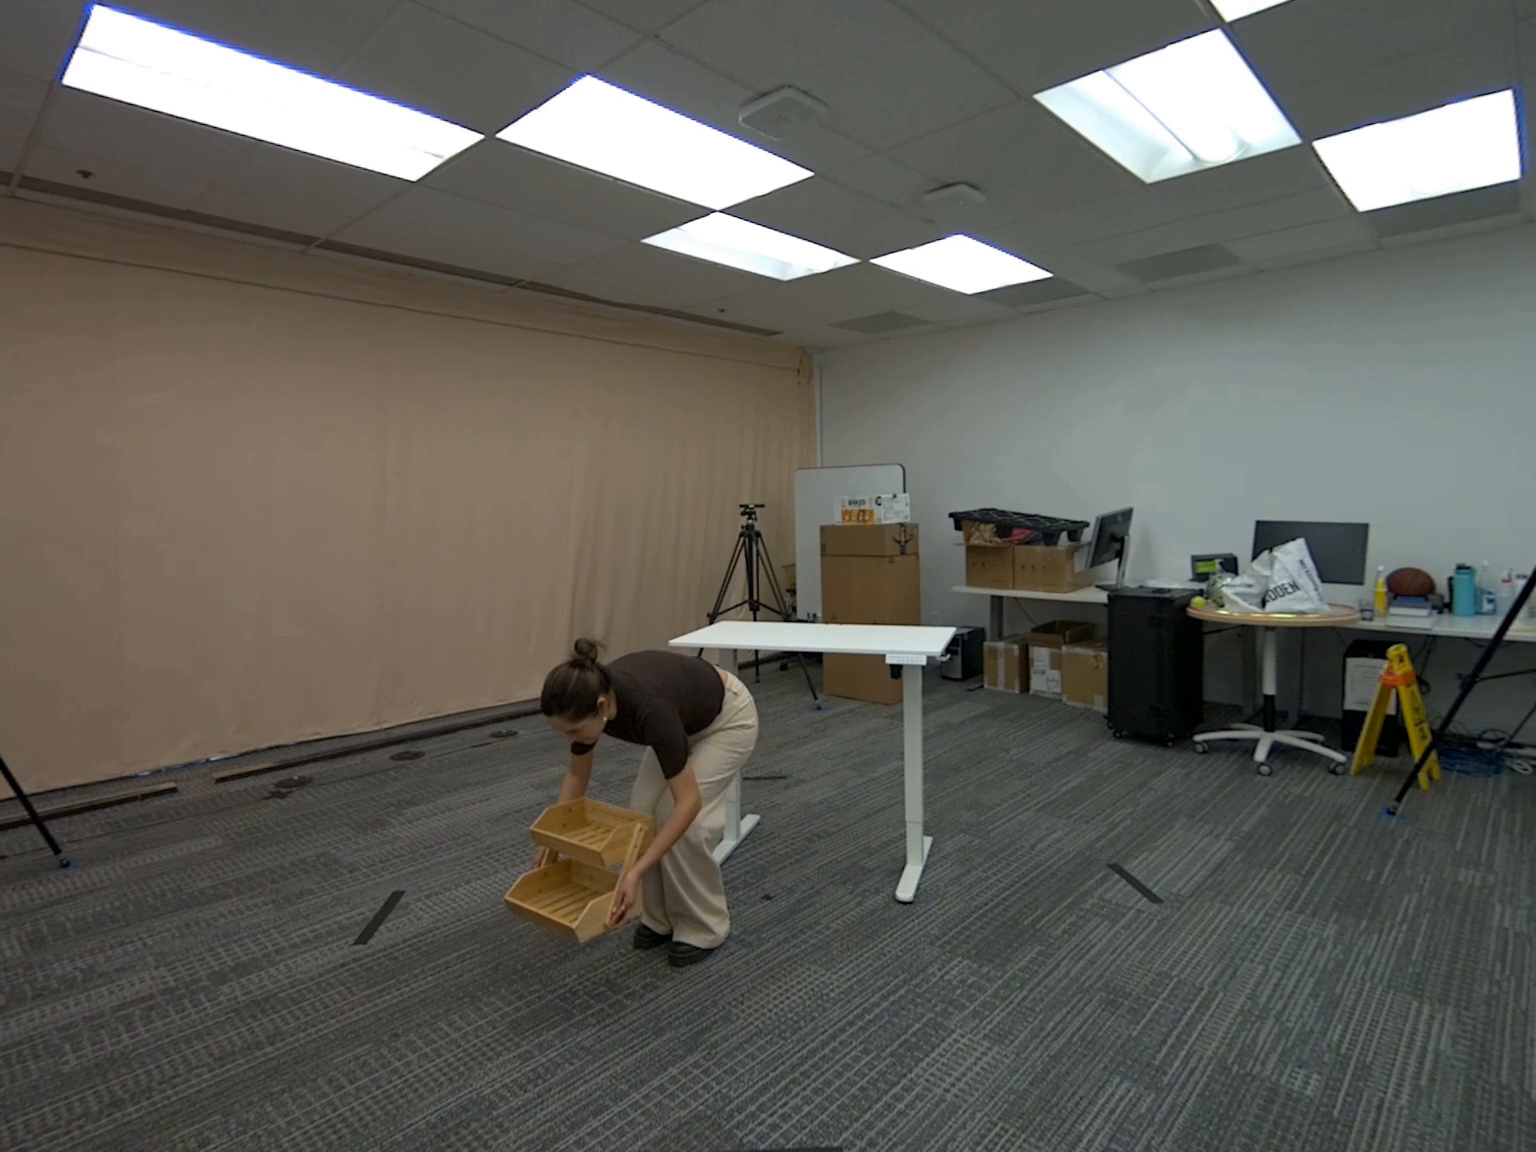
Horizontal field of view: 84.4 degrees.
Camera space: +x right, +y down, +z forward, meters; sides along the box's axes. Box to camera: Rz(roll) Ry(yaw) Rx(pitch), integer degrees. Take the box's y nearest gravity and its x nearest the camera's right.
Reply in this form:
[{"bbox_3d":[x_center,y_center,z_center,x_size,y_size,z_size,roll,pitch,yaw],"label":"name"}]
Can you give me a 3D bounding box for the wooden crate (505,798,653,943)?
[{"bbox_3d":[-0.534,0.813,2.381,0.335,0.273,0.293,0,1,37],"label":"wooden crate"}]
